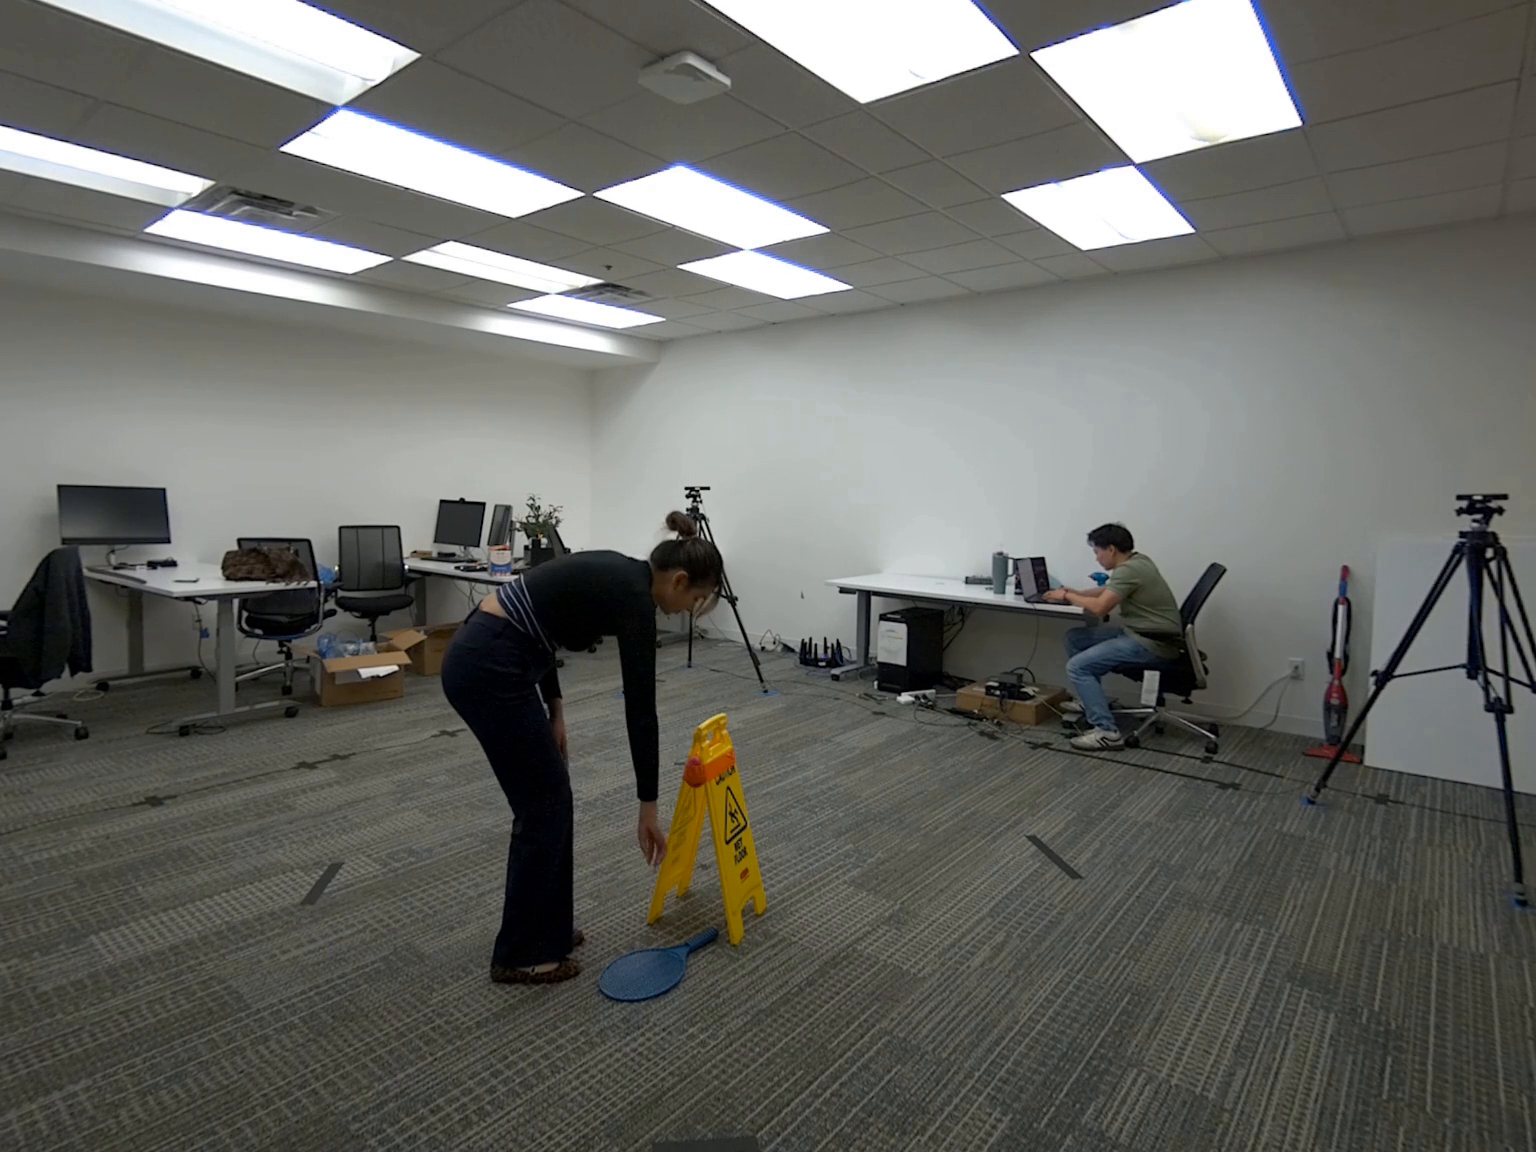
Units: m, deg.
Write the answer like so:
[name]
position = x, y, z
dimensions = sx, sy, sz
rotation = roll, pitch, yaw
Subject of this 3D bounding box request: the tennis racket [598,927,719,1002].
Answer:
[tennis racket]
position = -0.308, 1.116, 2.475
dimensions = 0.221, 0.031, 0.421
rotation = 6, 10, 42
